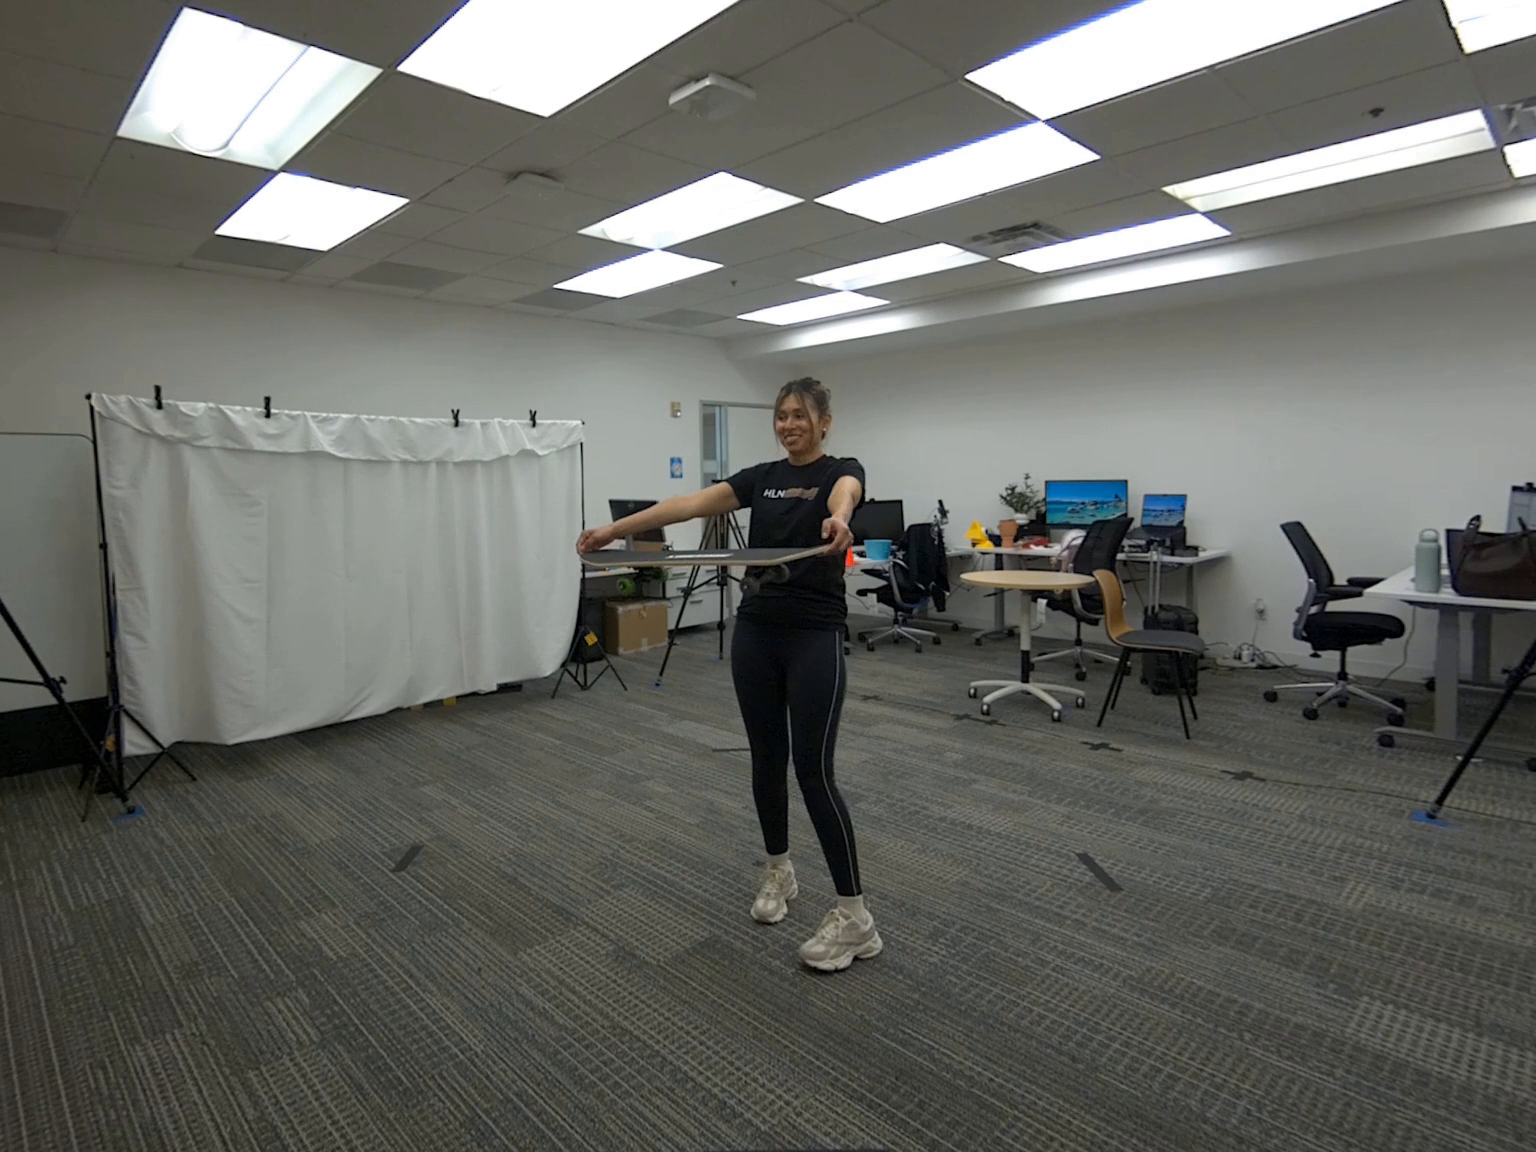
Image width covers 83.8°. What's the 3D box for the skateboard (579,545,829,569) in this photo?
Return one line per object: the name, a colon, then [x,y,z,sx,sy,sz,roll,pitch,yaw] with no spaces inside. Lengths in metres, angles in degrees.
skateboard: [-0.173,-0.015,2.270,0.806,0.109,0.190,0,12,34]
